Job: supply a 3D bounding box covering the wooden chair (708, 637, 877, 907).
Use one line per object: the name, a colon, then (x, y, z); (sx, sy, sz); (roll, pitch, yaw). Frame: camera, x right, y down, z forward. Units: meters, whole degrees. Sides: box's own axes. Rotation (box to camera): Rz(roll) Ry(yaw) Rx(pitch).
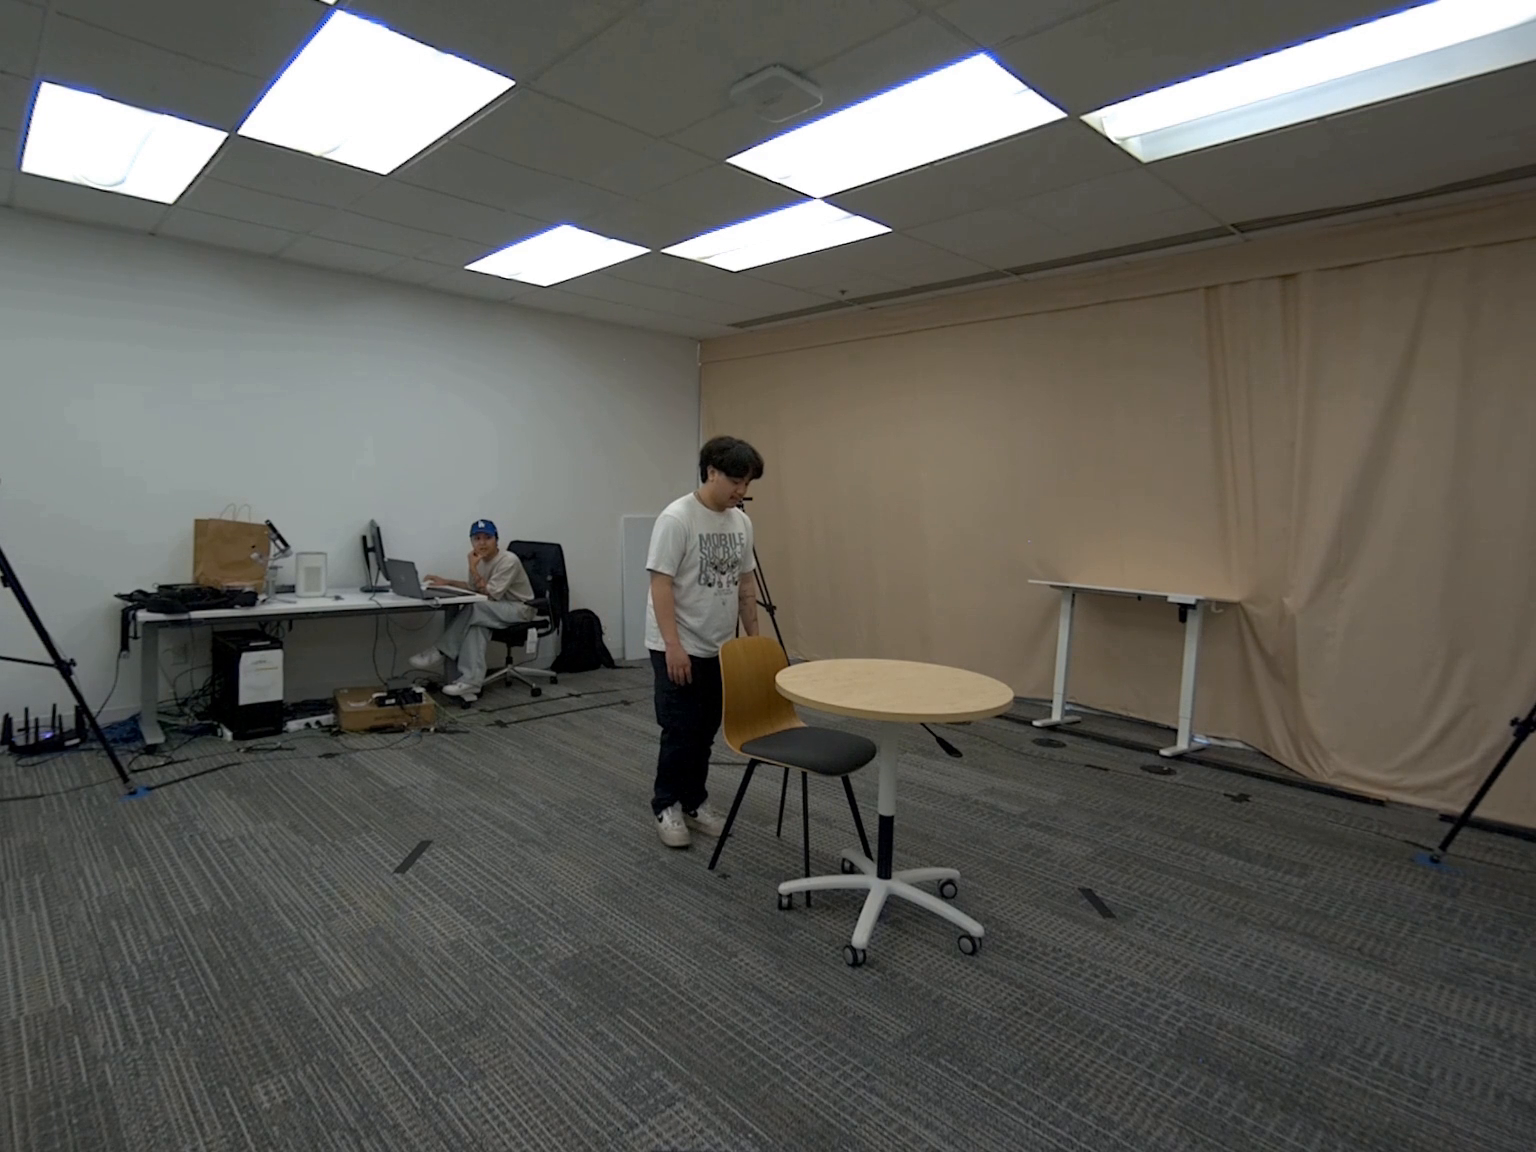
wooden chair: (0.099, 0.682, 3.151); (0.535, 0.877, 0.467); (-1, 1, 38)
